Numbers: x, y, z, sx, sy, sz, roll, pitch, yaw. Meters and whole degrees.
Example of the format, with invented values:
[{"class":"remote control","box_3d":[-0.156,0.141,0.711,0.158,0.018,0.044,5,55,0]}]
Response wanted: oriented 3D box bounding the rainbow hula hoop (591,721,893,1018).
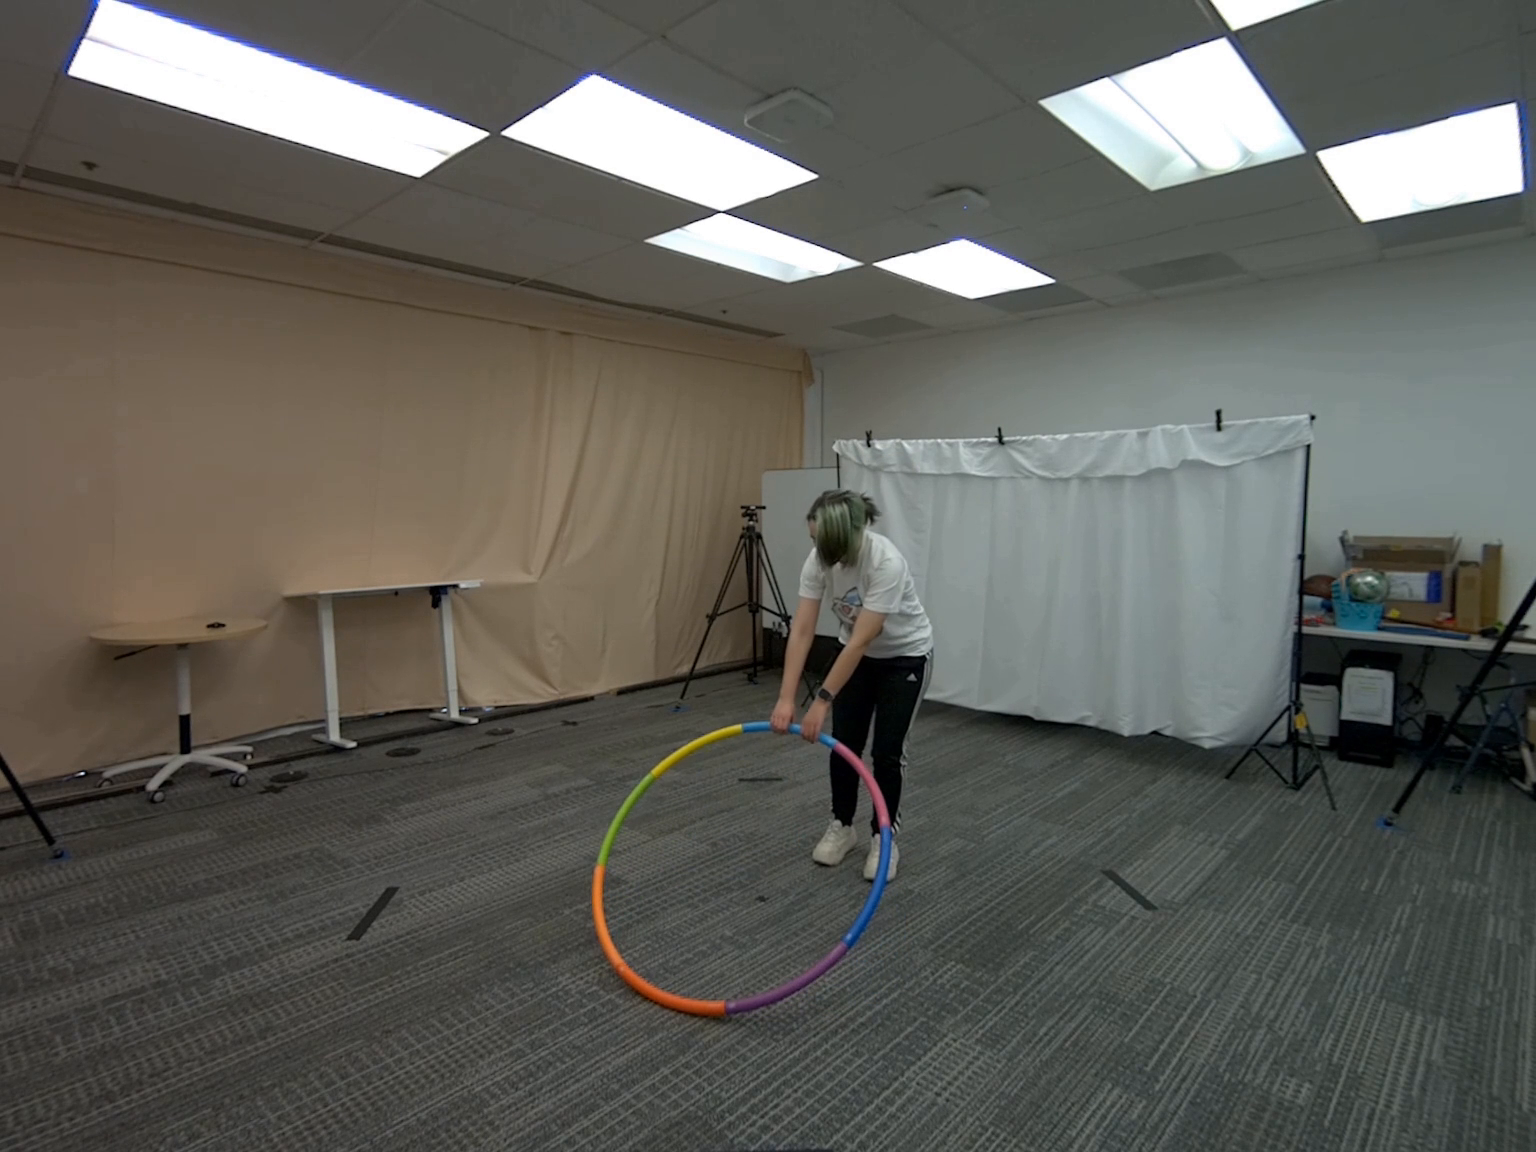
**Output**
[{"class":"rainbow hula hoop","box_3d":[-0.092,0.860,2.653,0.988,0.034,0.997,-17,37,10]}]
